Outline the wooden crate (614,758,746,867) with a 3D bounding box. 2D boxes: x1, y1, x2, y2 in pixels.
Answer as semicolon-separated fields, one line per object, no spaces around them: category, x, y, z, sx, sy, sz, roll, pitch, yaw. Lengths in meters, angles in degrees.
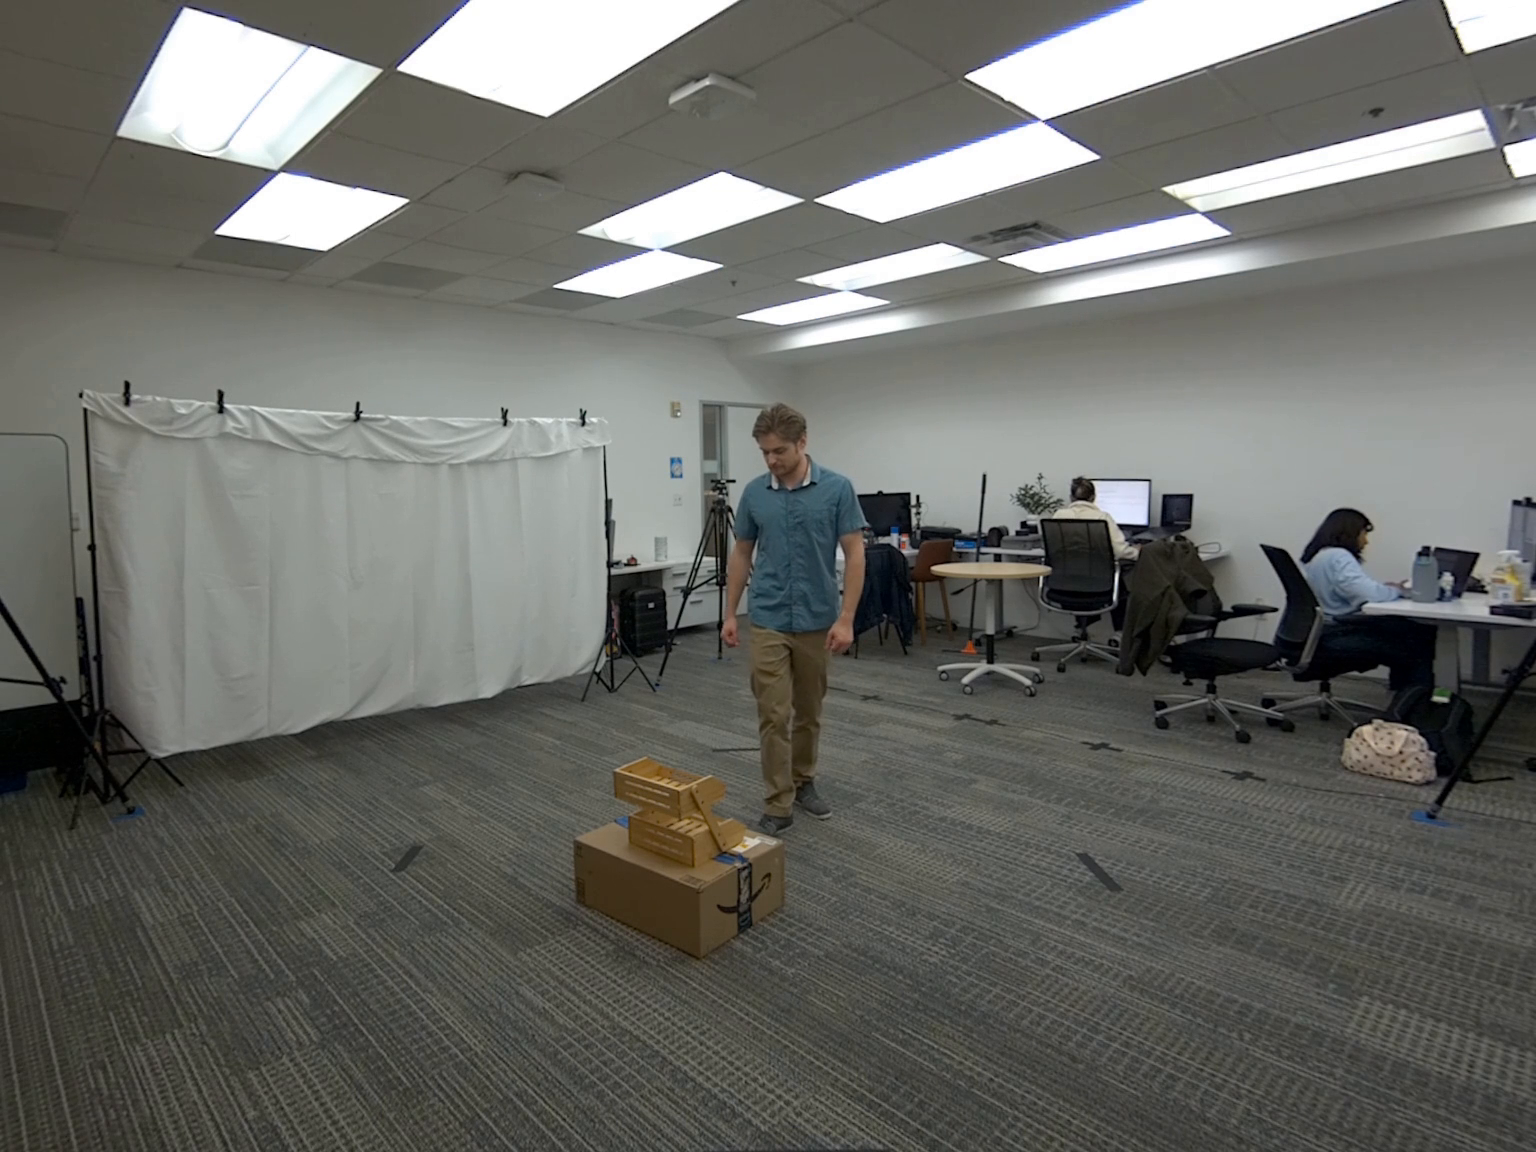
wooden crate;-0.282;0.743;2.786;0.334;0.272;0.295;2;8;40
